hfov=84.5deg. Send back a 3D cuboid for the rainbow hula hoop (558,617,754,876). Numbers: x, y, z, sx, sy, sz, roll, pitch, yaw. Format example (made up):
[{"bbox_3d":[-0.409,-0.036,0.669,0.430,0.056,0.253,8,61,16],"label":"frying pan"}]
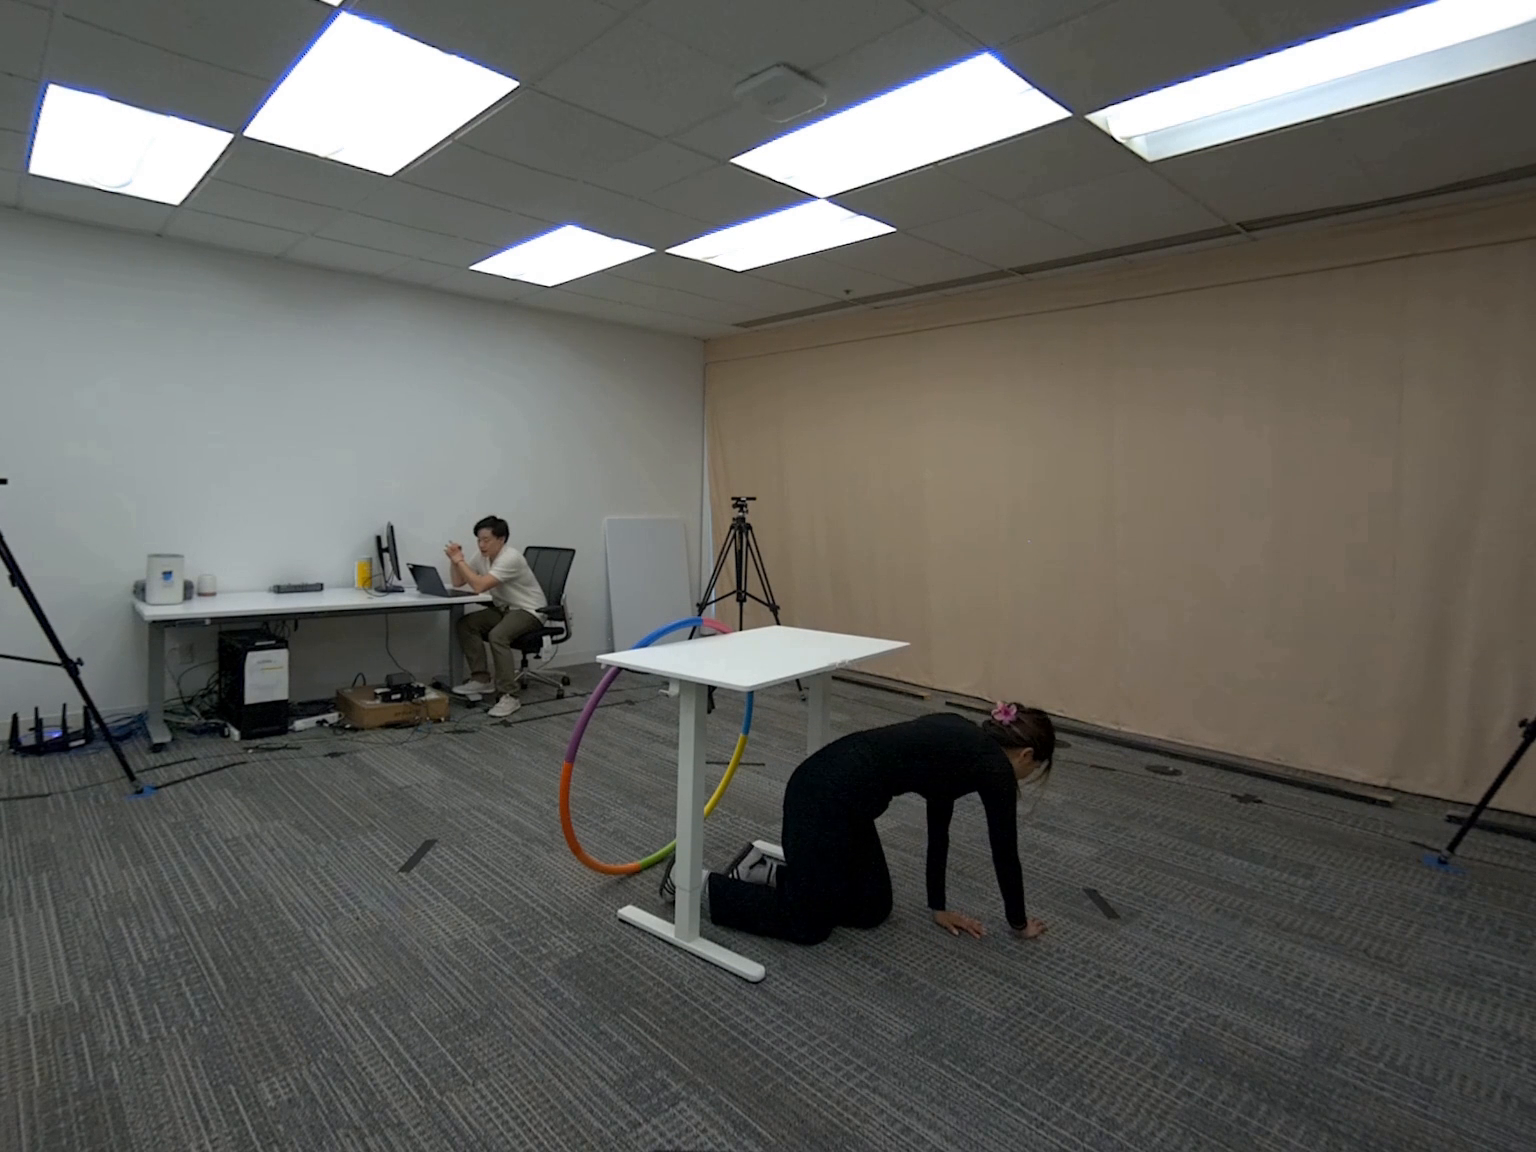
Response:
[{"bbox_3d":[-0.372,0.623,3.089,0.036,0.972,0.958,18,13,34],"label":"rainbow hula hoop"}]
